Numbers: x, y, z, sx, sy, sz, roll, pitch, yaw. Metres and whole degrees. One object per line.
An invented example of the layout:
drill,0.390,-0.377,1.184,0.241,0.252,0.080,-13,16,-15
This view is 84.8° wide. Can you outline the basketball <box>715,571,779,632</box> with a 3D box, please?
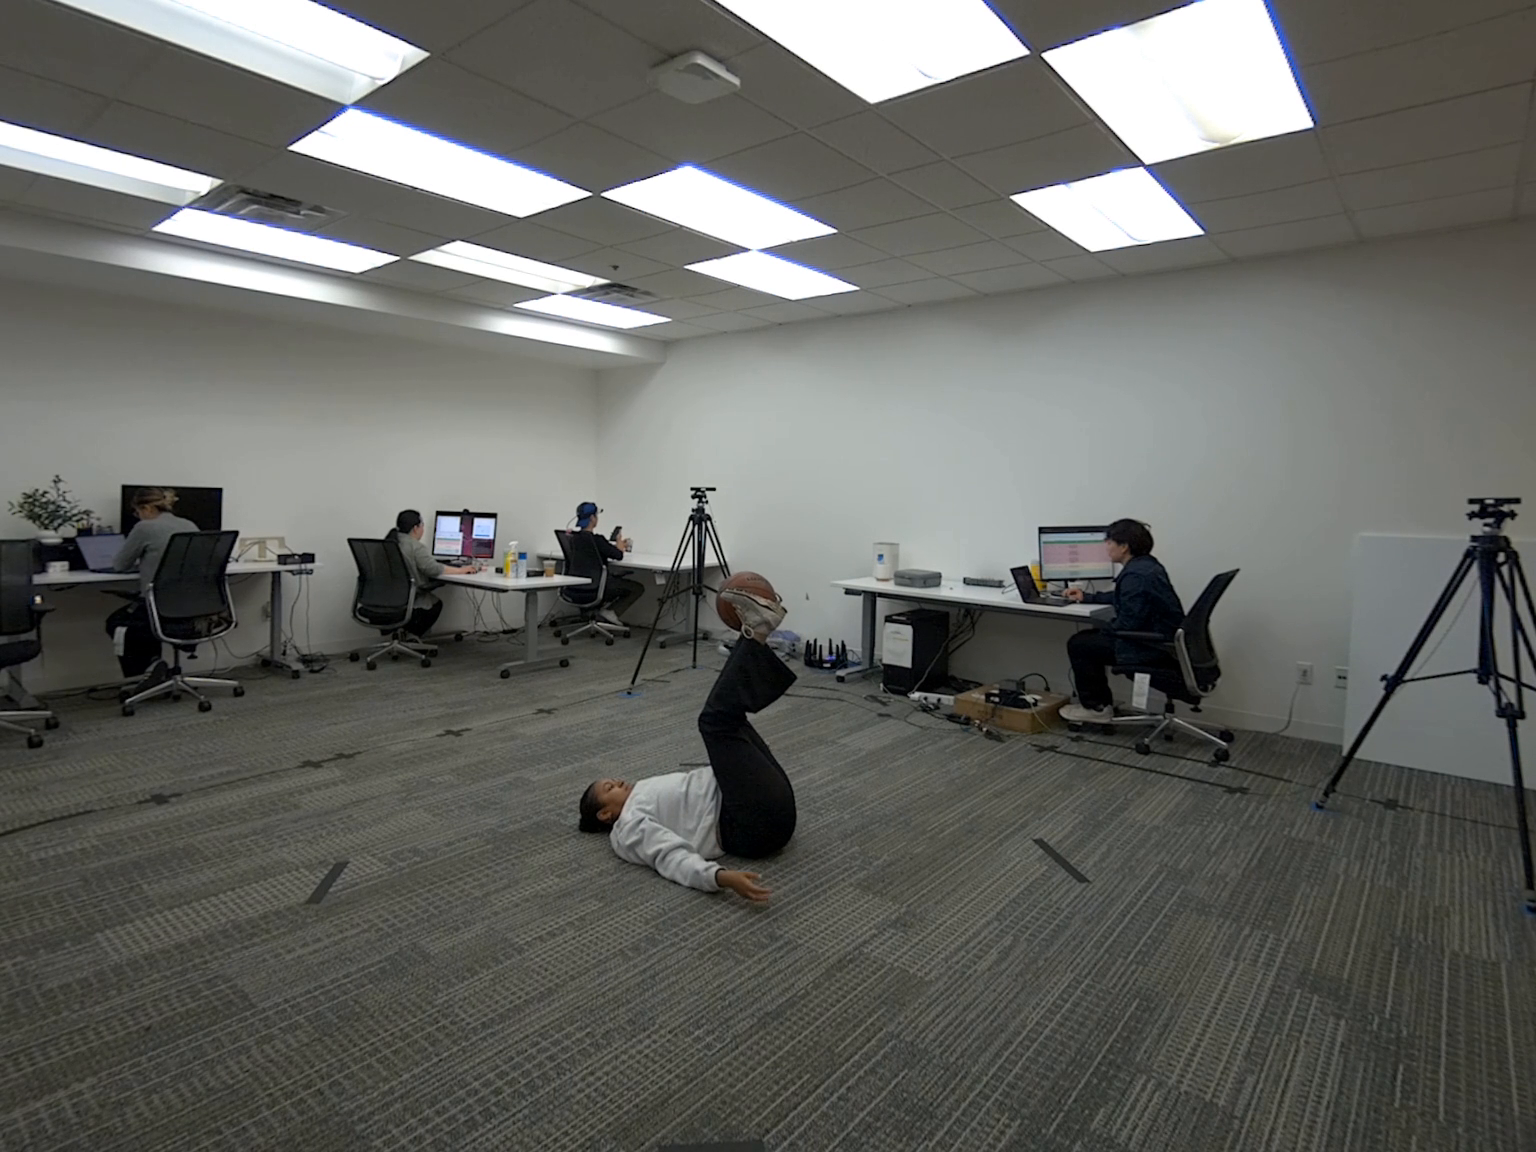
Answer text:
basketball,-0.094,0.097,3.334,0.236,0.234,0.238,-2,8,-2
